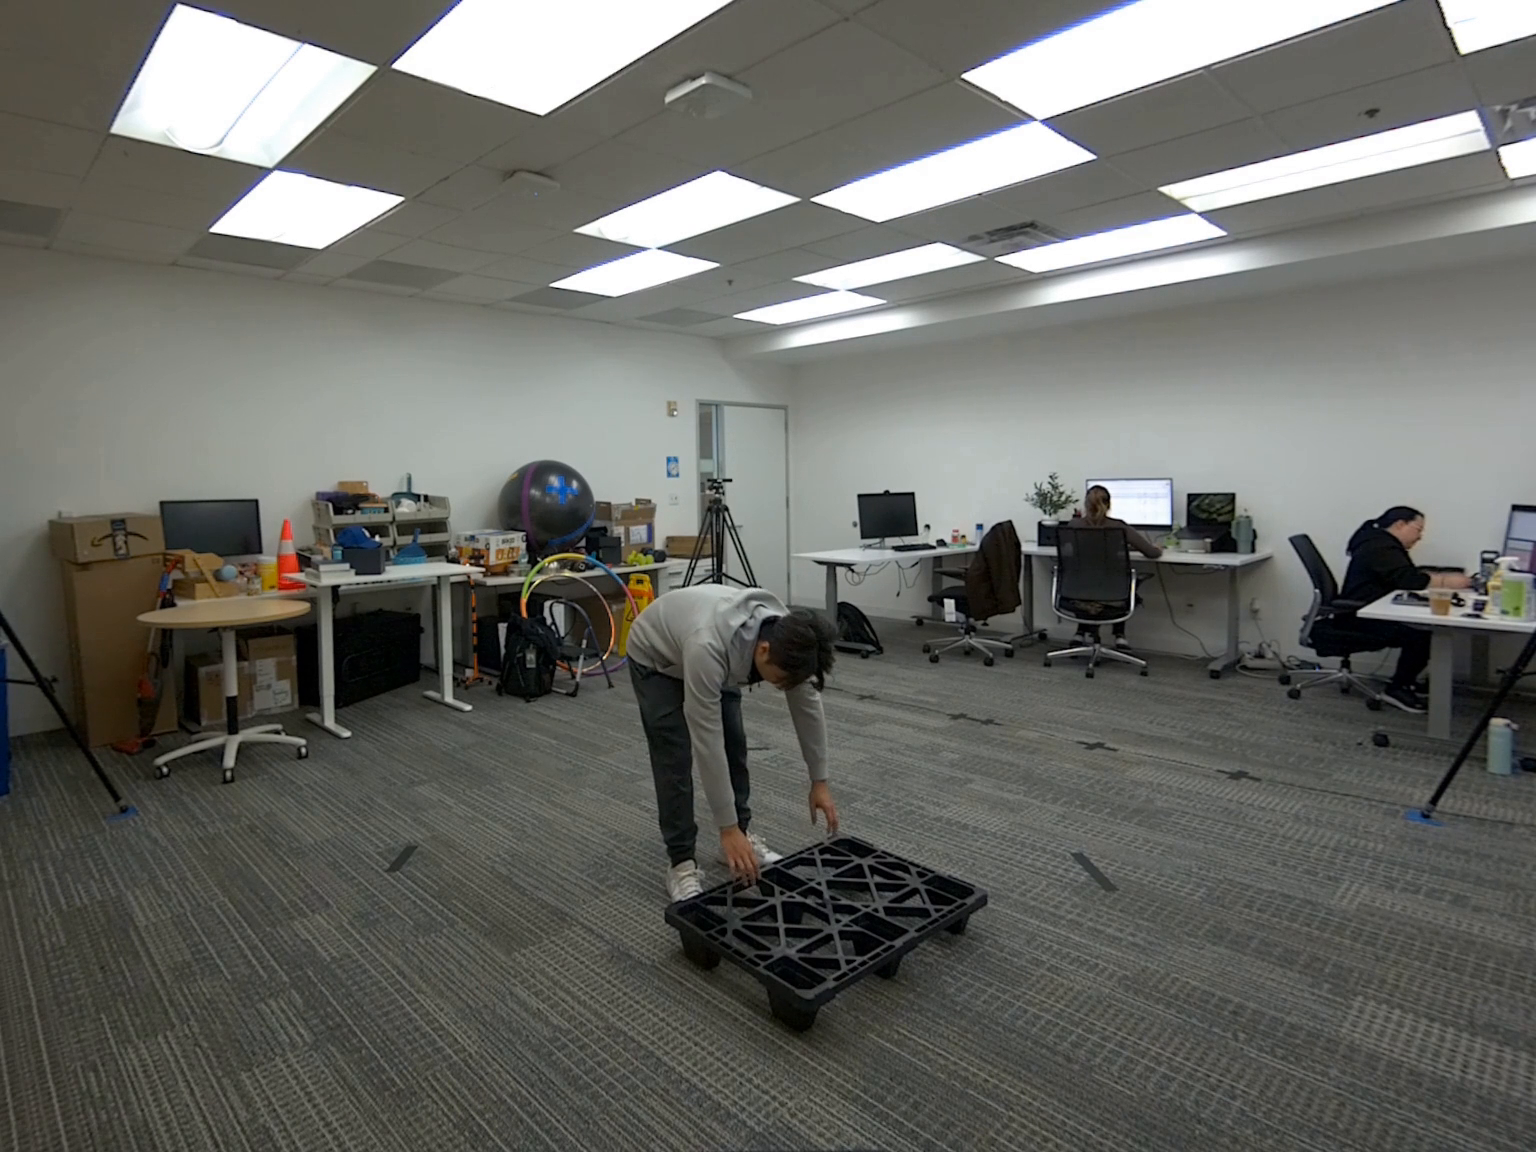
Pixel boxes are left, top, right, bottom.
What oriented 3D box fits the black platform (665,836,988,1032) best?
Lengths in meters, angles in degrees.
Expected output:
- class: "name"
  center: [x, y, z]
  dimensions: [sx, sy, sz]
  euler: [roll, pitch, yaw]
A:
- class: "black platform"
  center: [0.180, 1.039, 2.557]
  dimensions: [0.785, 0.142, 0.624]
  euler: [-7, 9, -42]
